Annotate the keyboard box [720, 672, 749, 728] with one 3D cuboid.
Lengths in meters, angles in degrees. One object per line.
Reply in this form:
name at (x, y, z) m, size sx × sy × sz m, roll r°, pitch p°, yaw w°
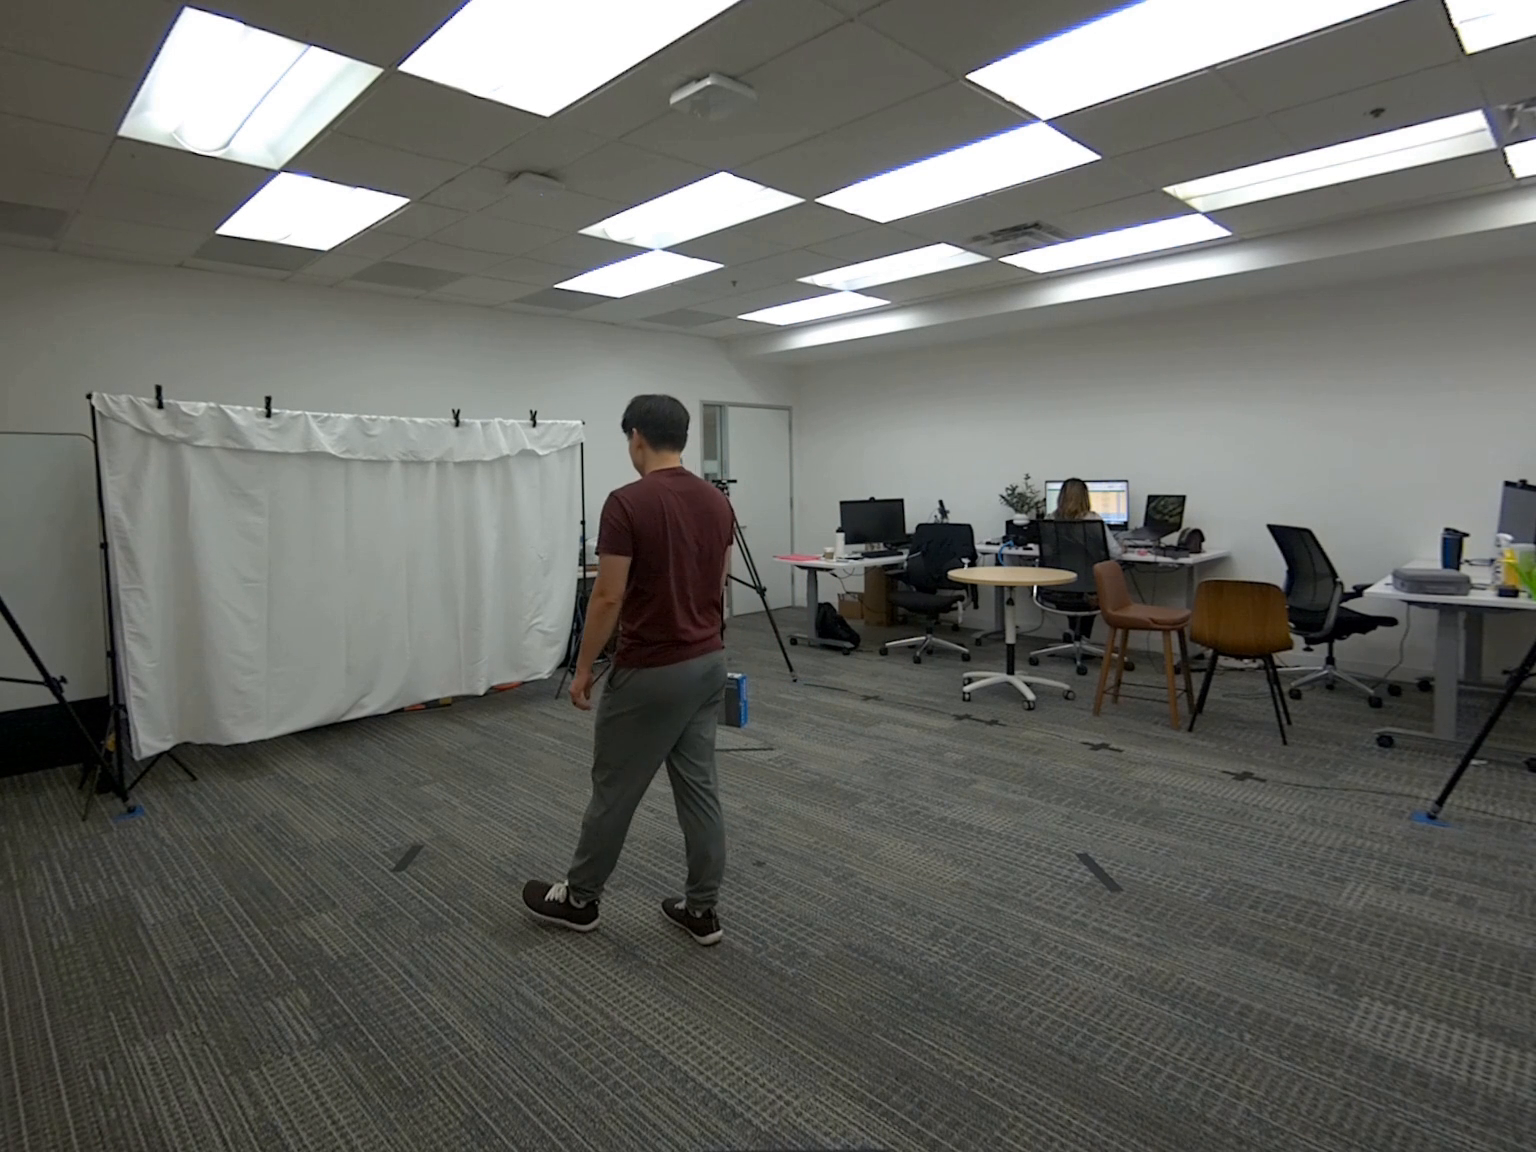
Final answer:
keyboard box at (-0.279, 0.409, 2.960) m, size 0.448 × 0.175 × 0.058 m, roll 3°, pitch 8°, yaw 27°
